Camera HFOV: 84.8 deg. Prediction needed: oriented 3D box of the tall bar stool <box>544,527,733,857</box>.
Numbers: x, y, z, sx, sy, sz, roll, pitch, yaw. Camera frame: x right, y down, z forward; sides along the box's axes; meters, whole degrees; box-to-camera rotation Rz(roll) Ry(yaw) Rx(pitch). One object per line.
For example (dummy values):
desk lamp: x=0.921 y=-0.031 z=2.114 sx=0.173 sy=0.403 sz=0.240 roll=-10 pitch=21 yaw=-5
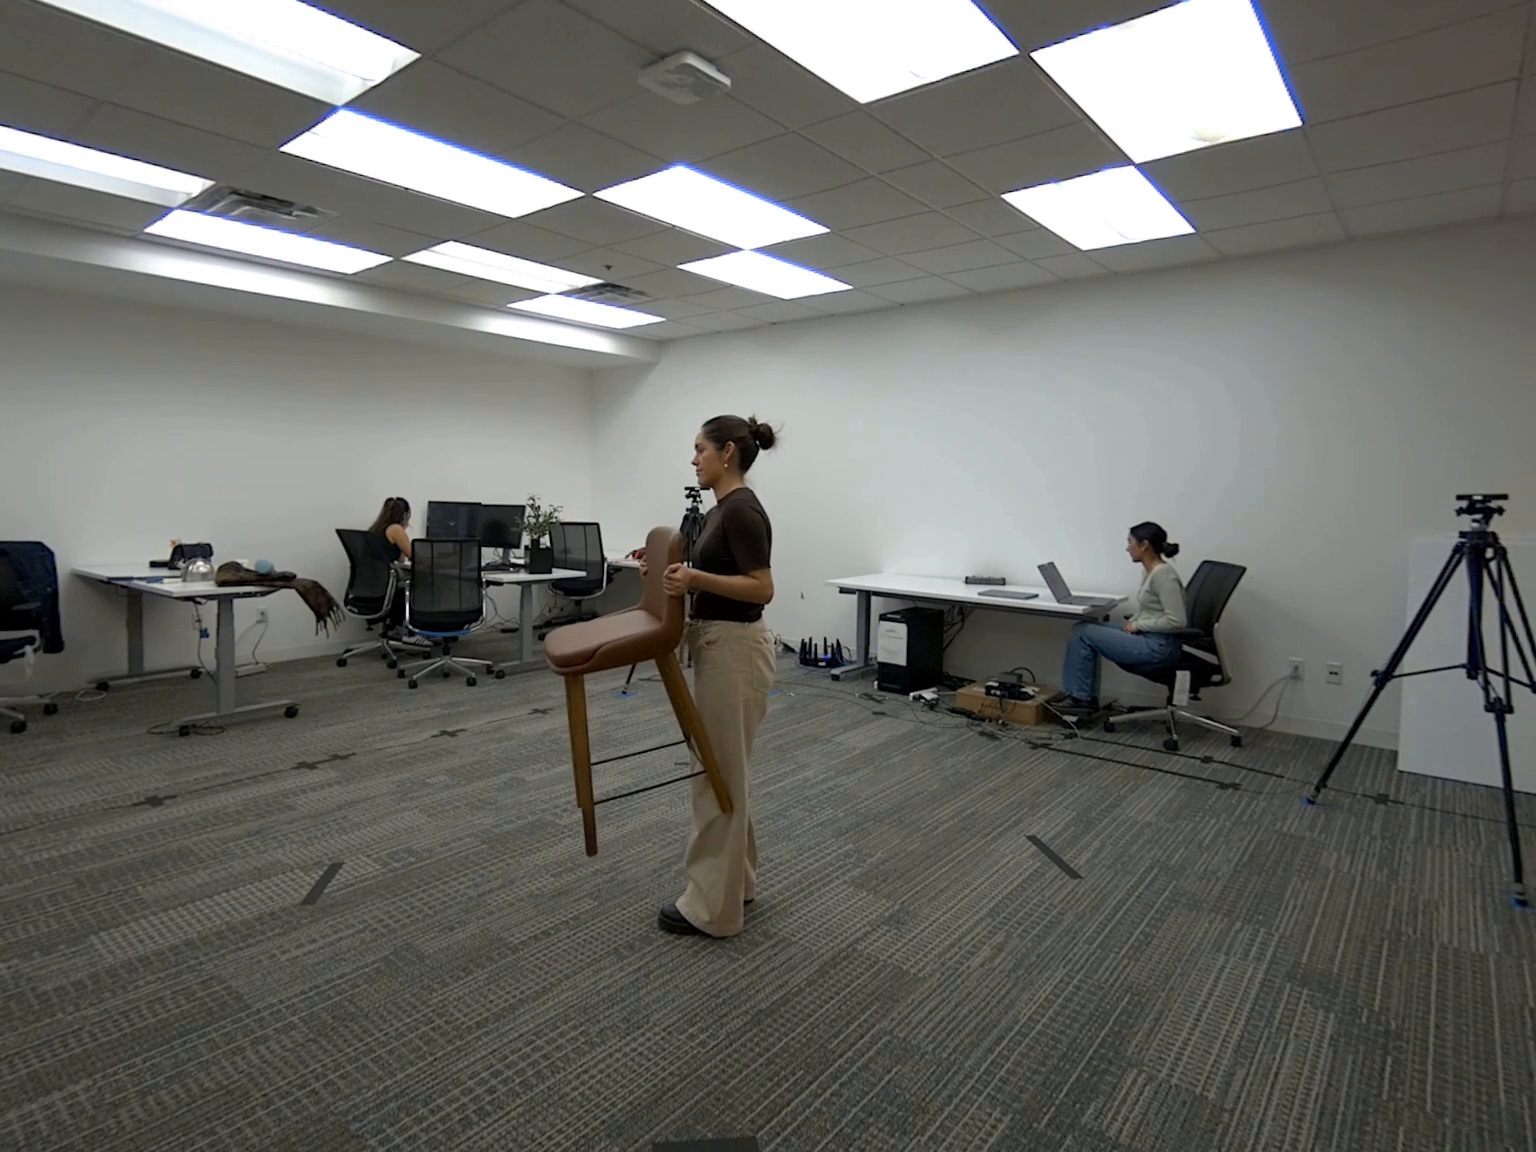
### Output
tall bar stool: x=-0.458 y=0.326 z=2.679 sx=0.462 sy=0.883 sz=0.465 roll=-10 pitch=7 yaw=-14
